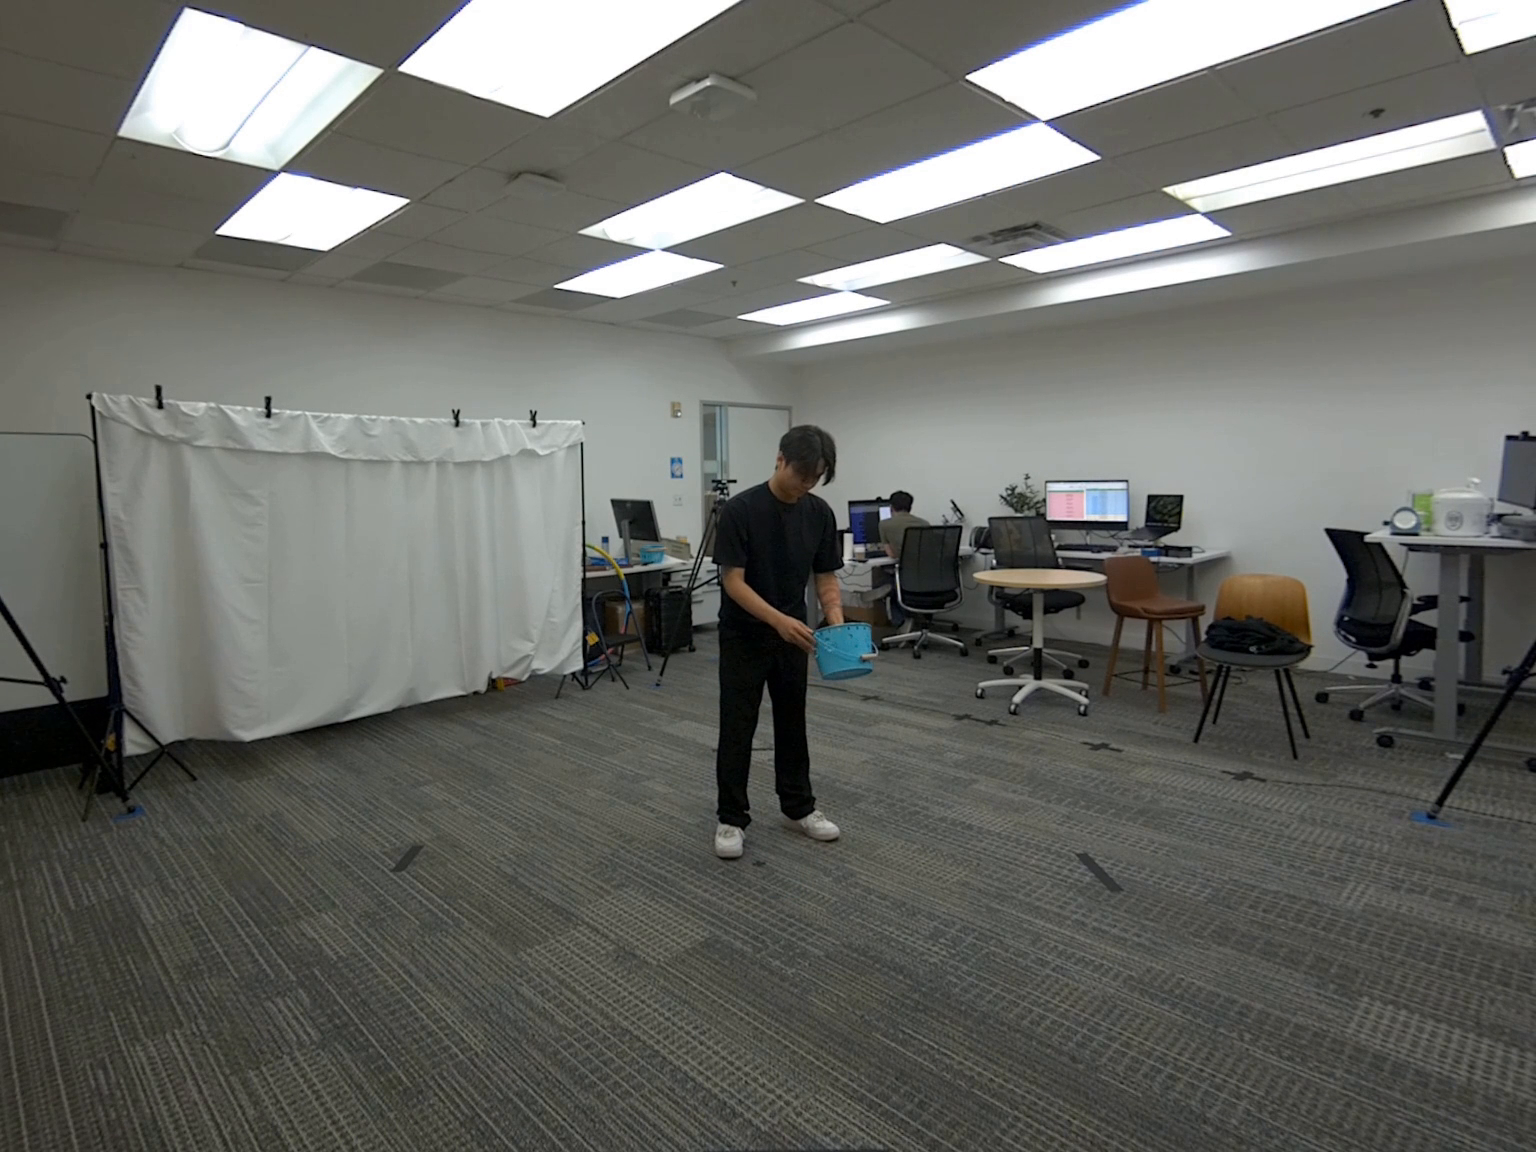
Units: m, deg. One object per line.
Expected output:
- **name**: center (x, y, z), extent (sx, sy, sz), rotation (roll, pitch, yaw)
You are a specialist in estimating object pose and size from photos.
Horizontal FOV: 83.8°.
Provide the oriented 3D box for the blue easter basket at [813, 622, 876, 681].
- **blue easter basket**: center (0.271, 0.273, 3.004), extent (0.243, 0.159, 0.239), rotation (-7, -19, -4)
